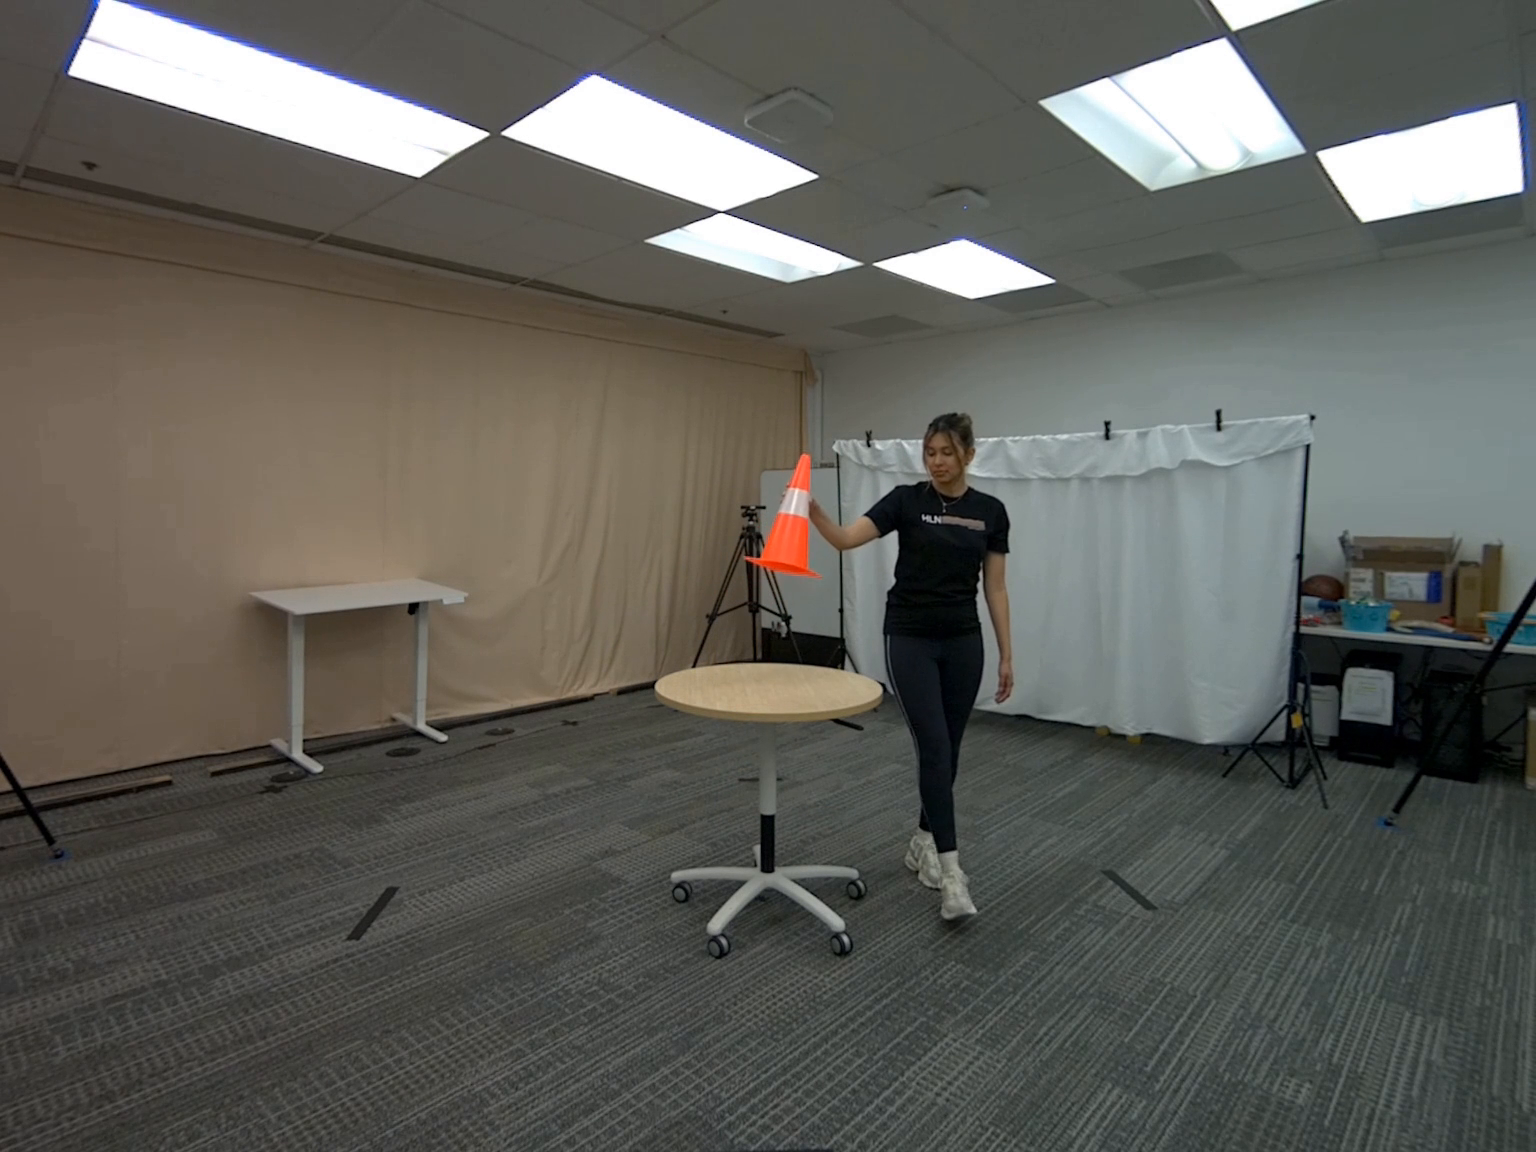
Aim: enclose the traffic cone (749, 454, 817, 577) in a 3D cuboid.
[{"bbox_3d":[0.098,-0.199,2.736,0.210,0.385,0.198,7,-9,33],"label":"traffic cone"}]
